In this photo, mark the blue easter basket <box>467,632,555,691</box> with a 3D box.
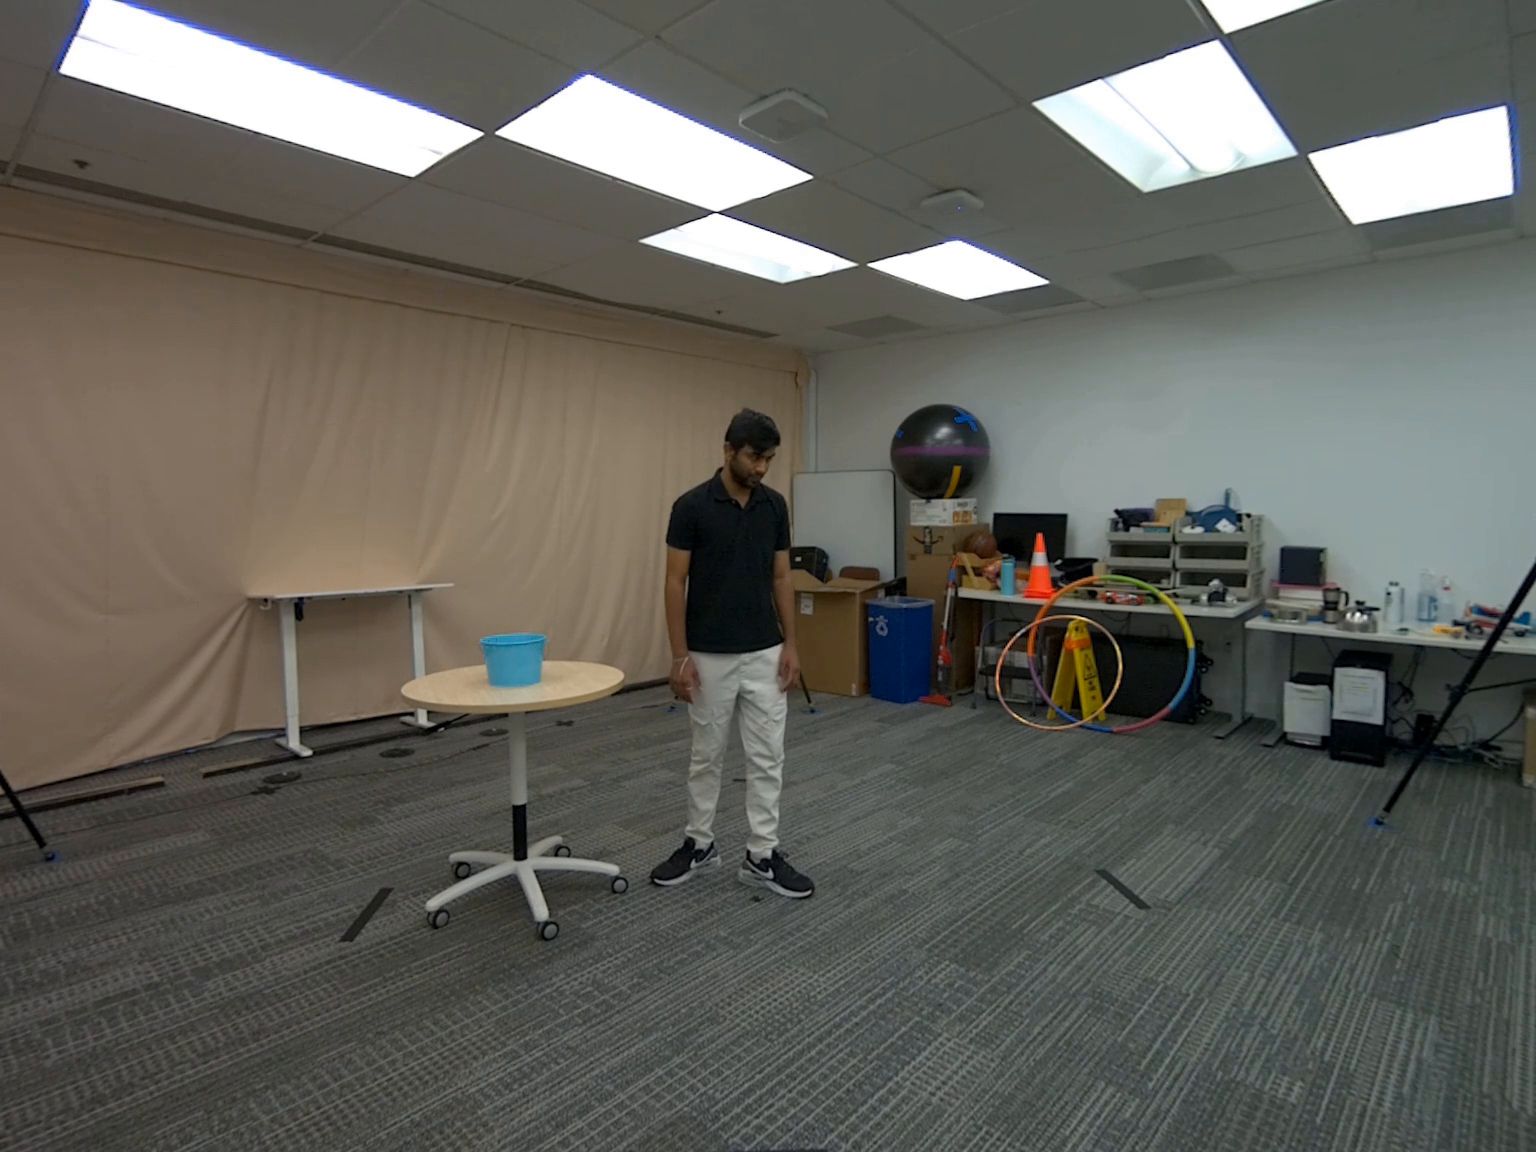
[{"bbox_3d":[-0.895,0.294,2.960,0.243,0.155,0.244,-1,4,-2],"label":"blue easter basket"}]
